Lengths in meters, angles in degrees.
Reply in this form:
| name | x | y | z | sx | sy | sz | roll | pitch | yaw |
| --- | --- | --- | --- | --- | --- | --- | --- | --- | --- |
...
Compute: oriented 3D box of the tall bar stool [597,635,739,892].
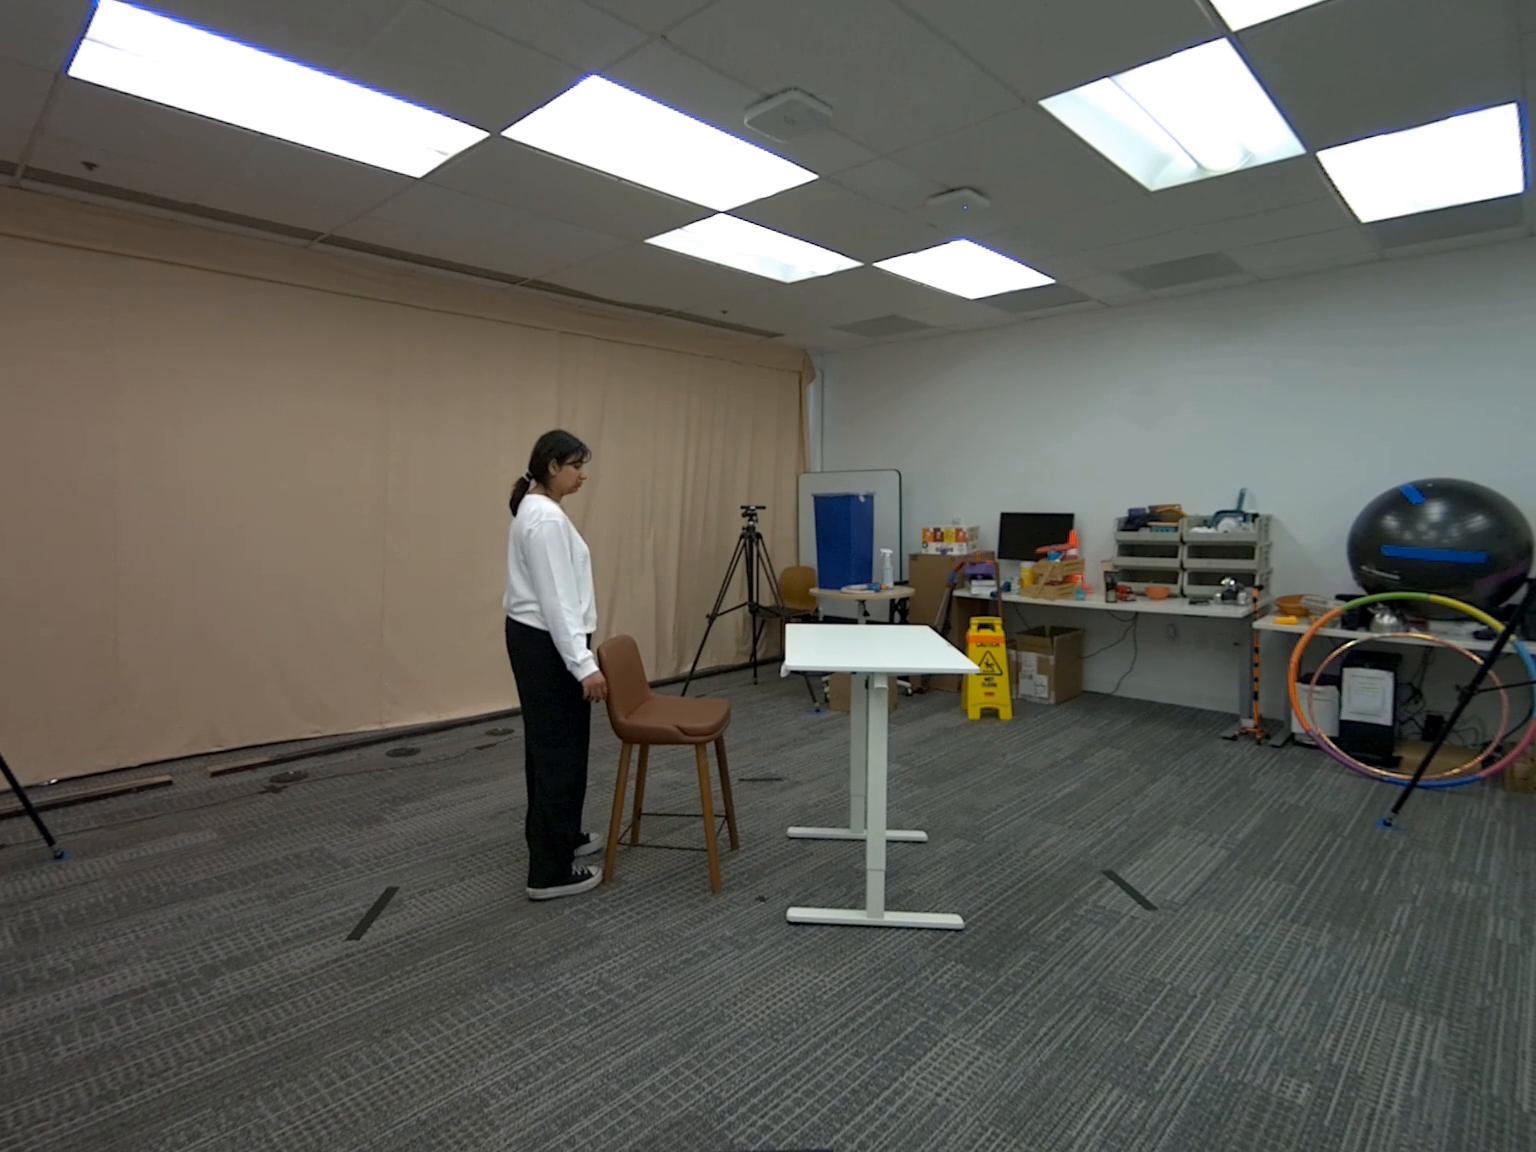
| name | x | y | z | sx | sy | sz | roll | pitch | yaw |
| --- | --- | --- | --- | --- | --- | --- | --- | --- | --- |
| tall bar stool | -0.379 | 0.688 | 3.239 | 0.473 | 0.888 | 0.452 | -3 | 2 | 10 |
